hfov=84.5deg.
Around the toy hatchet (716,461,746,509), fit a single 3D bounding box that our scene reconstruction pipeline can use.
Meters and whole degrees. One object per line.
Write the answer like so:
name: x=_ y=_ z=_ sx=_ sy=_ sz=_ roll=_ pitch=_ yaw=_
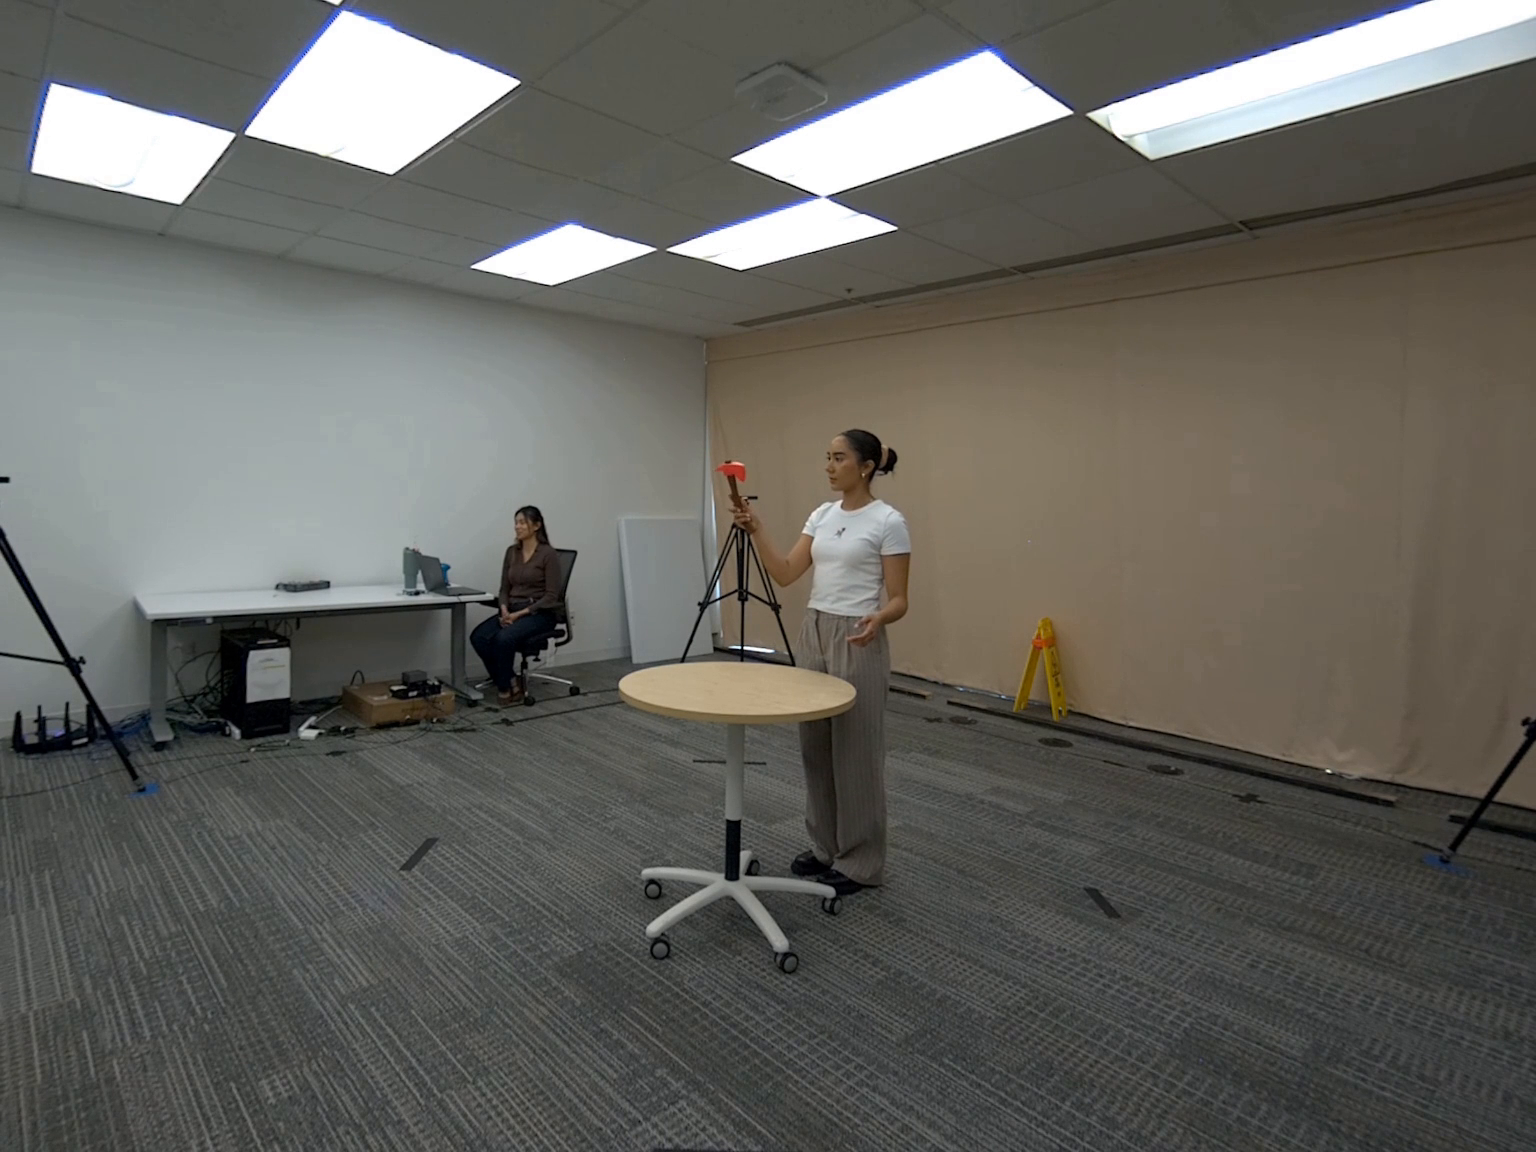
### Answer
toy hatchet: x=-0.091 y=-0.285 z=2.931 sx=0.132 sy=0.269 sz=0.029 roll=-26 pitch=7 yaw=40
